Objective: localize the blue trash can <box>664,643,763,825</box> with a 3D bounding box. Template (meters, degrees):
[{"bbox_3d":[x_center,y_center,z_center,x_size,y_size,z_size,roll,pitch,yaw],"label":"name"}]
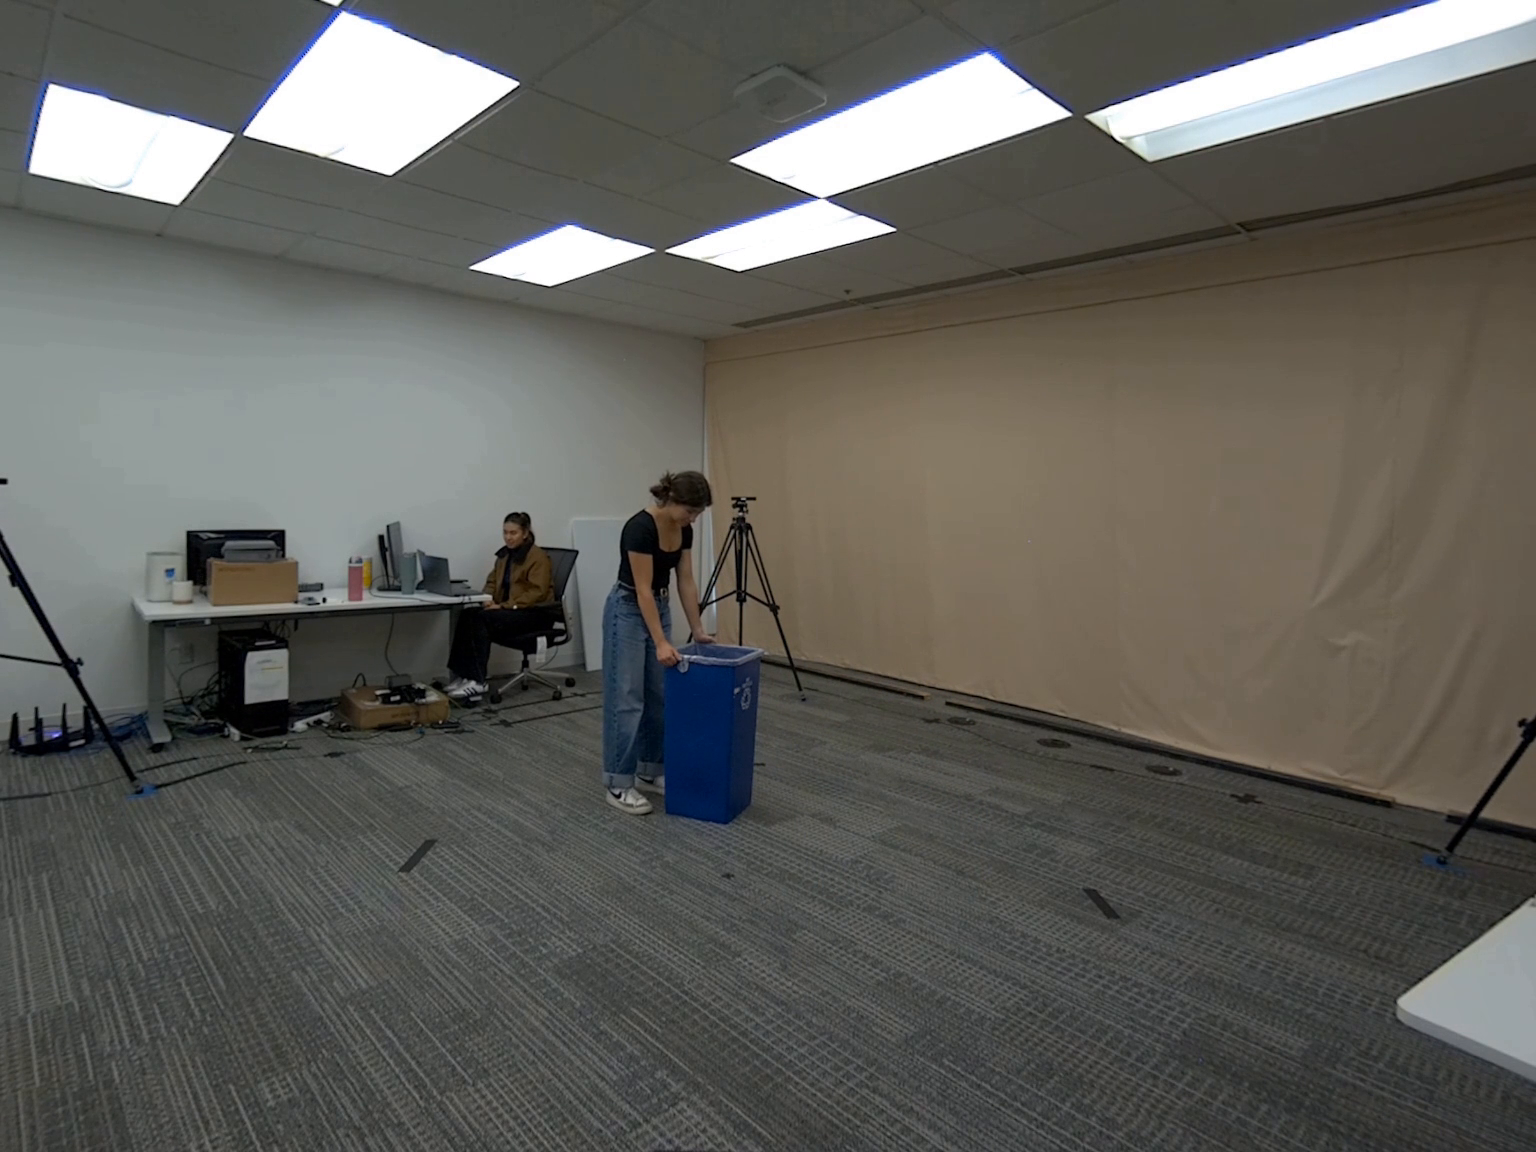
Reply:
[{"bbox_3d":[-0.265,0.688,3.778,0.384,0.711,0.369,3,4,21],"label":"blue trash can"}]
